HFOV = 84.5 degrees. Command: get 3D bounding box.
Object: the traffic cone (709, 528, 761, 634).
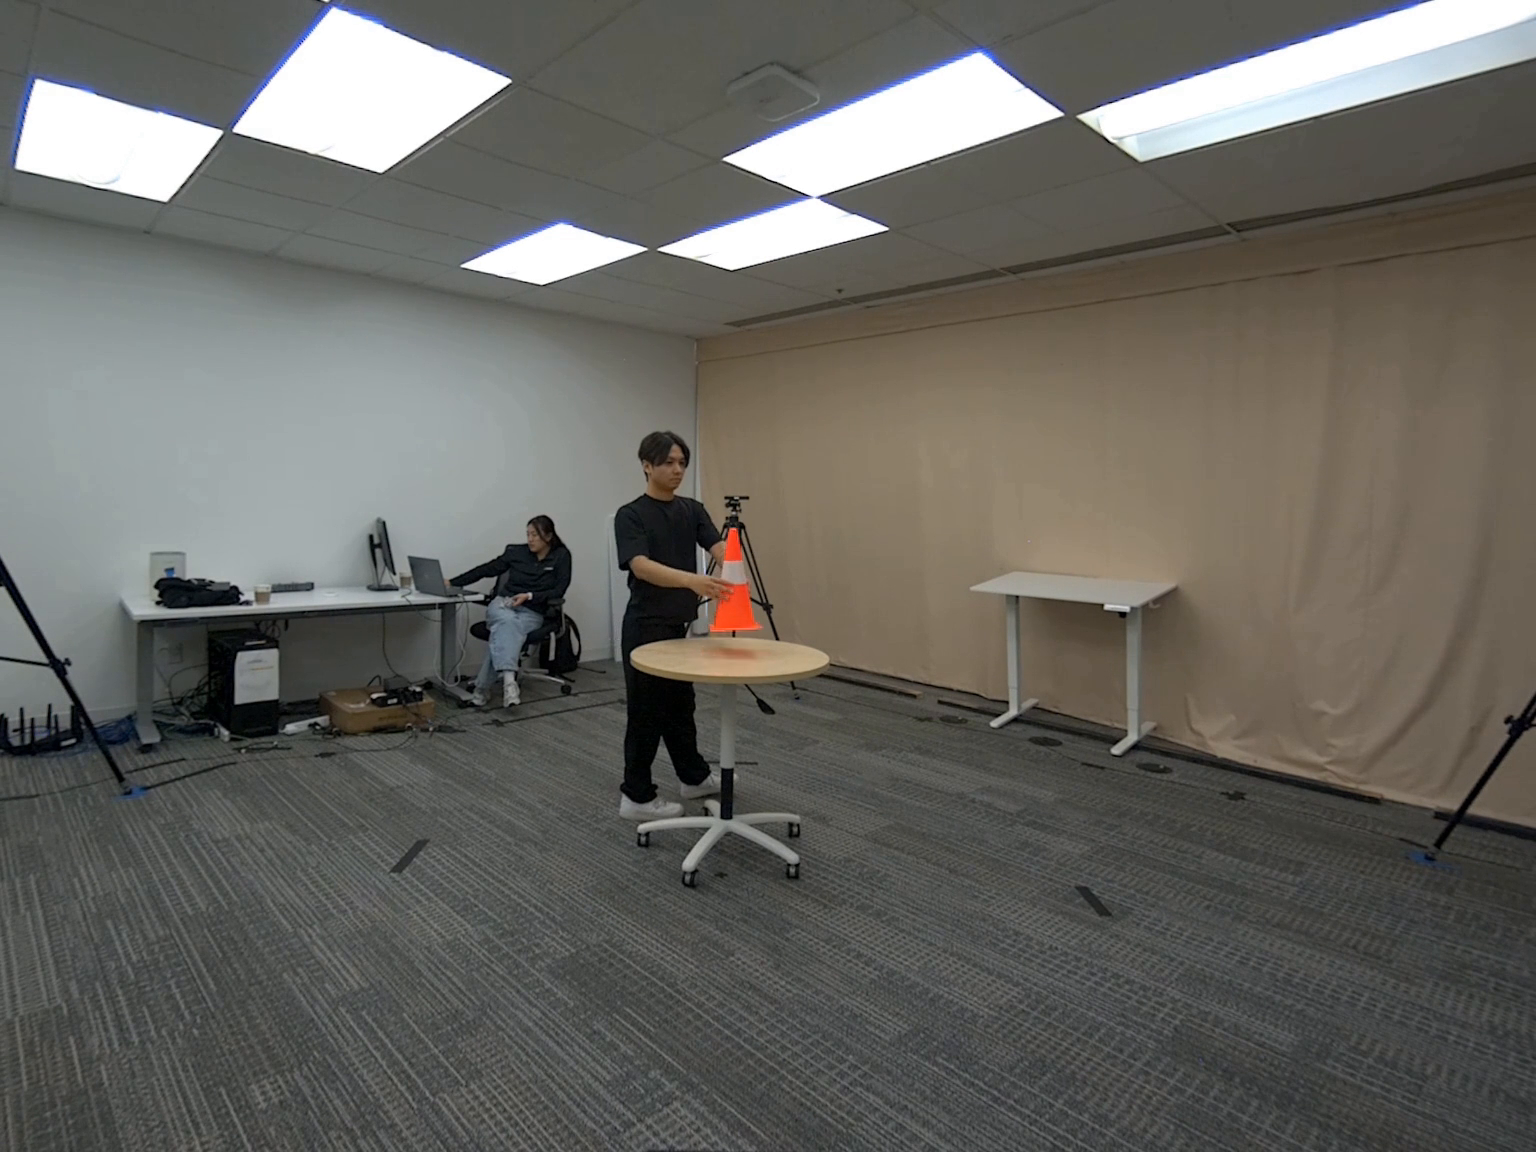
[{"bbox_3d":[-0.137,0.004,3.259,0.210,0.383,0.199,2,3,37],"label":"traffic cone"}]
